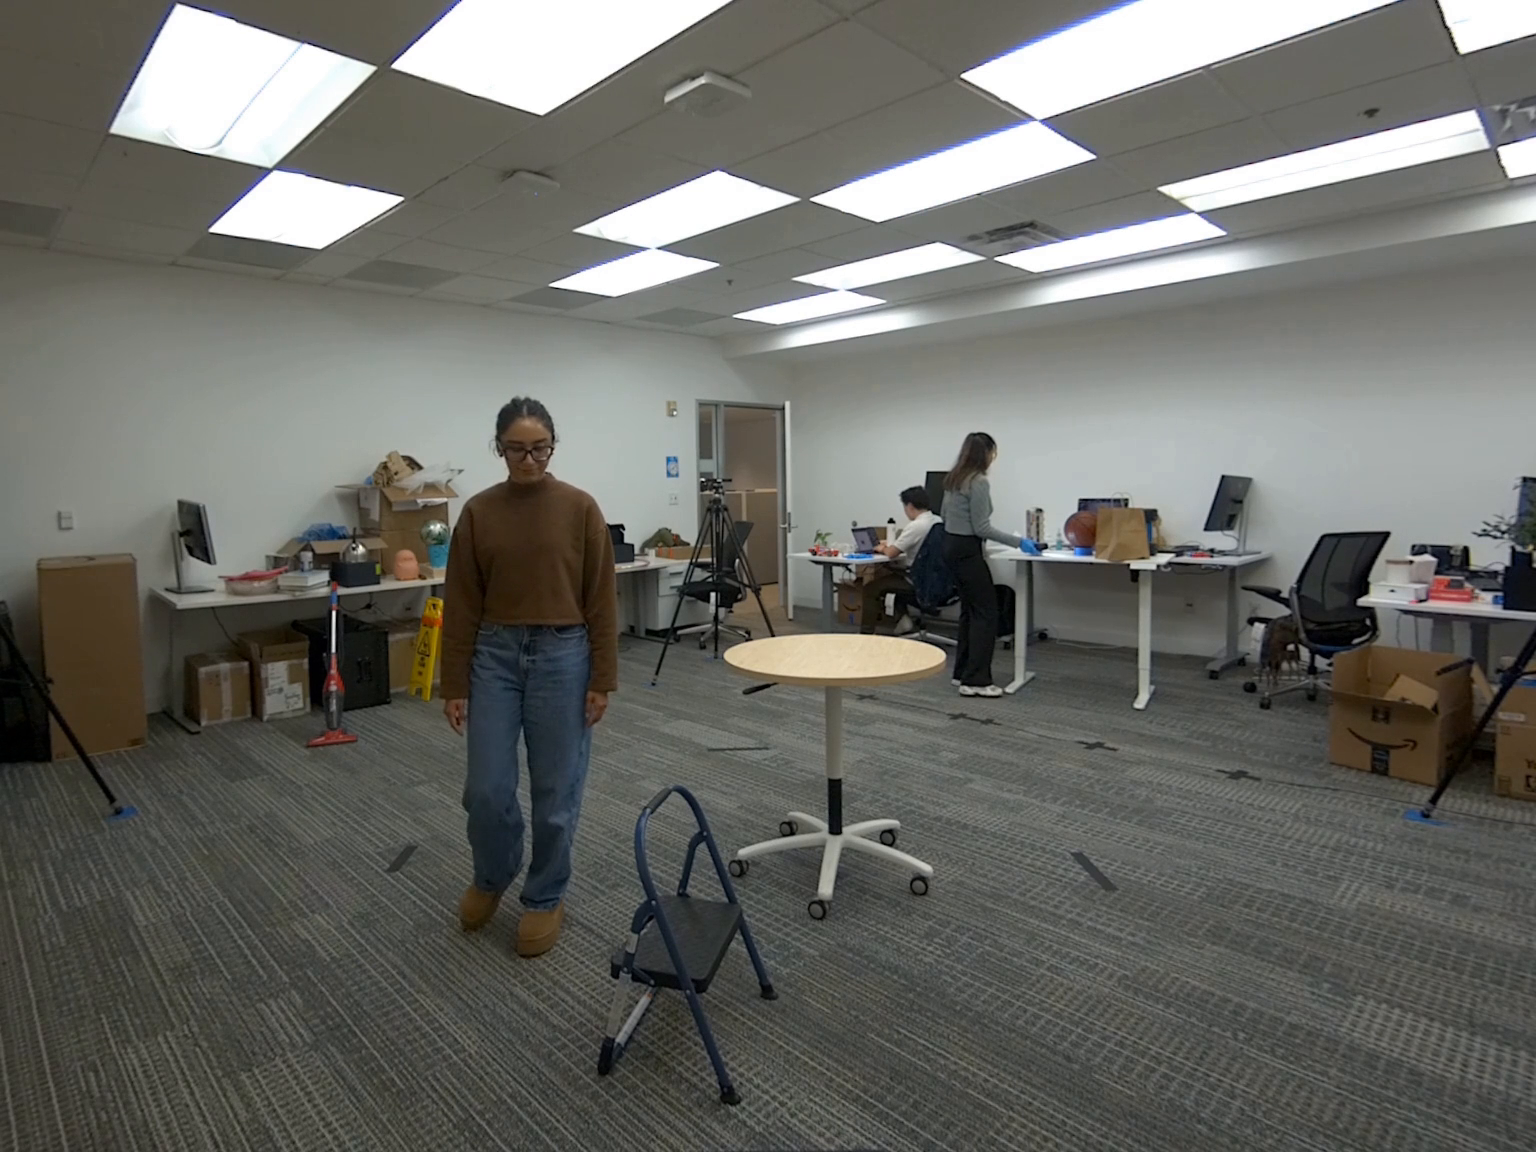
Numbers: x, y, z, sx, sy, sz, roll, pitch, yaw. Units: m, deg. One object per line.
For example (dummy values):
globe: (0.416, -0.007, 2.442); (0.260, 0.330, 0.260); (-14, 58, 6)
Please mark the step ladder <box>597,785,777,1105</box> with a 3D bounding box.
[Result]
step ladder: (-0.189, 0.860, 2.142); (0.355, 0.604, 0.426); (0, 5, 15)
